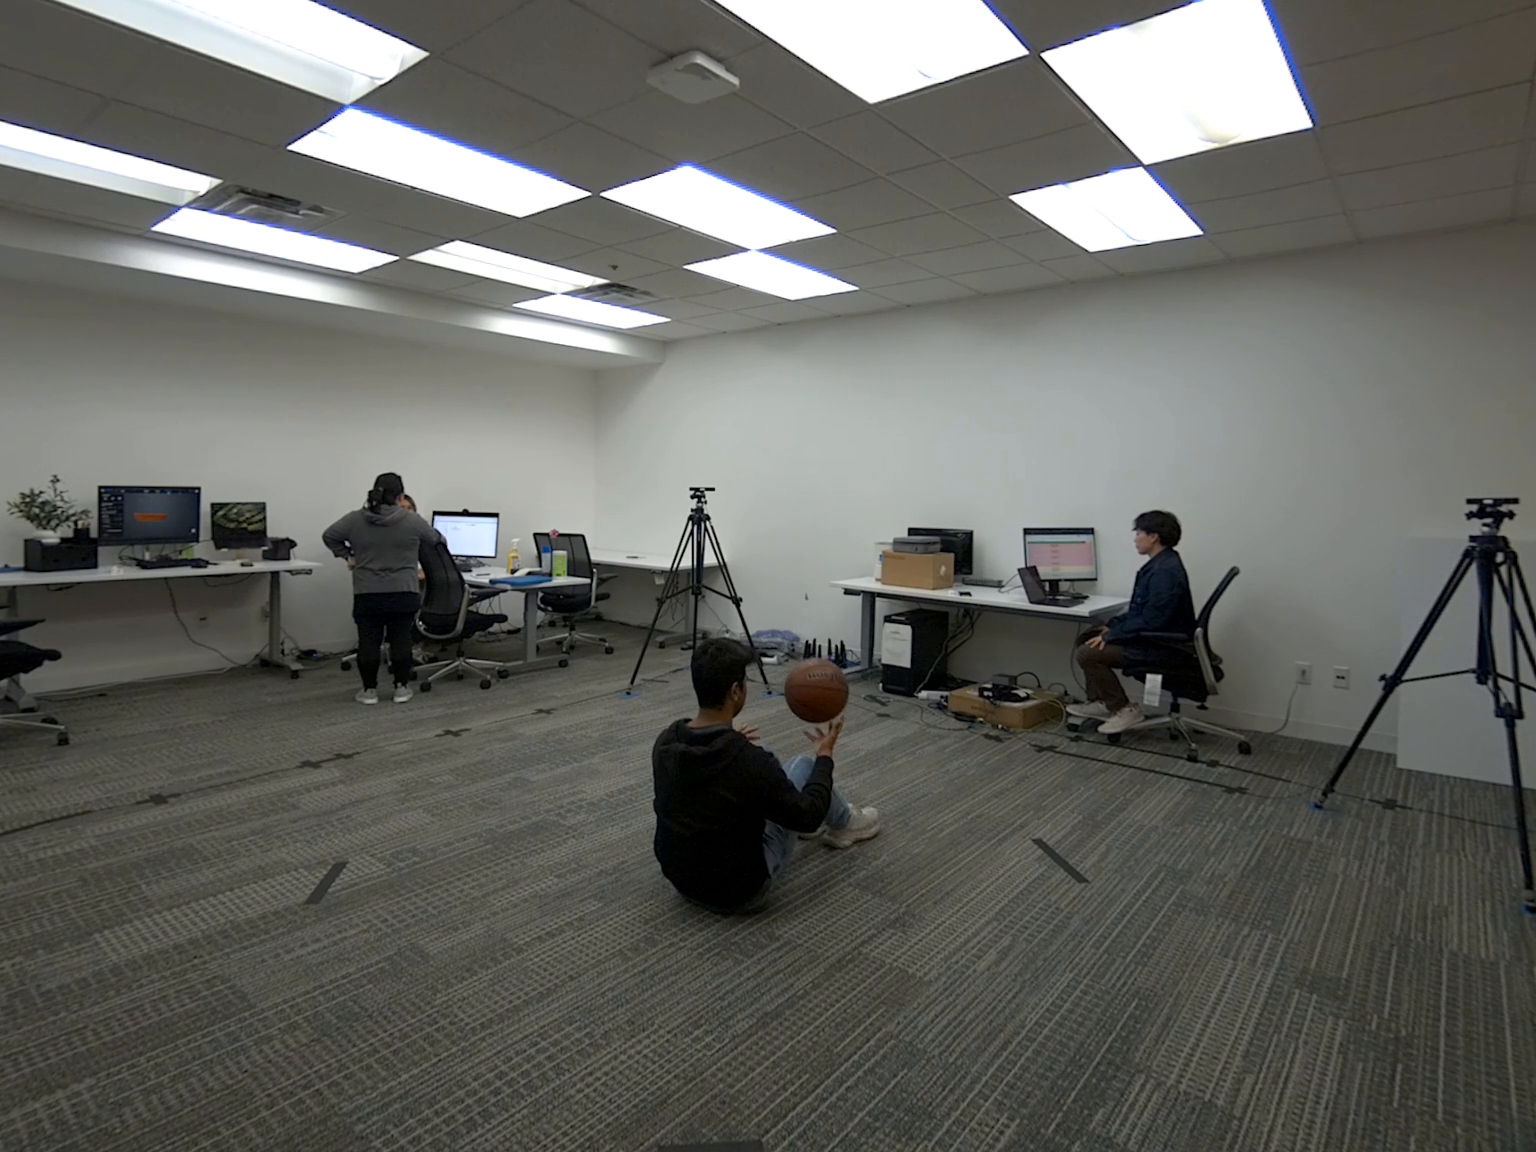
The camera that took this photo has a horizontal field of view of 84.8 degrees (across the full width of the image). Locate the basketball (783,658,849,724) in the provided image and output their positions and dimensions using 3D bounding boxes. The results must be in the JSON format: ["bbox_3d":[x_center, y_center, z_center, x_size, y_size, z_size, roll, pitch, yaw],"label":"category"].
[{"bbox_3d":[0.155,0.444,3.162,0.235,0.235,0.237,1,4,-2],"label":"basketball"}]
